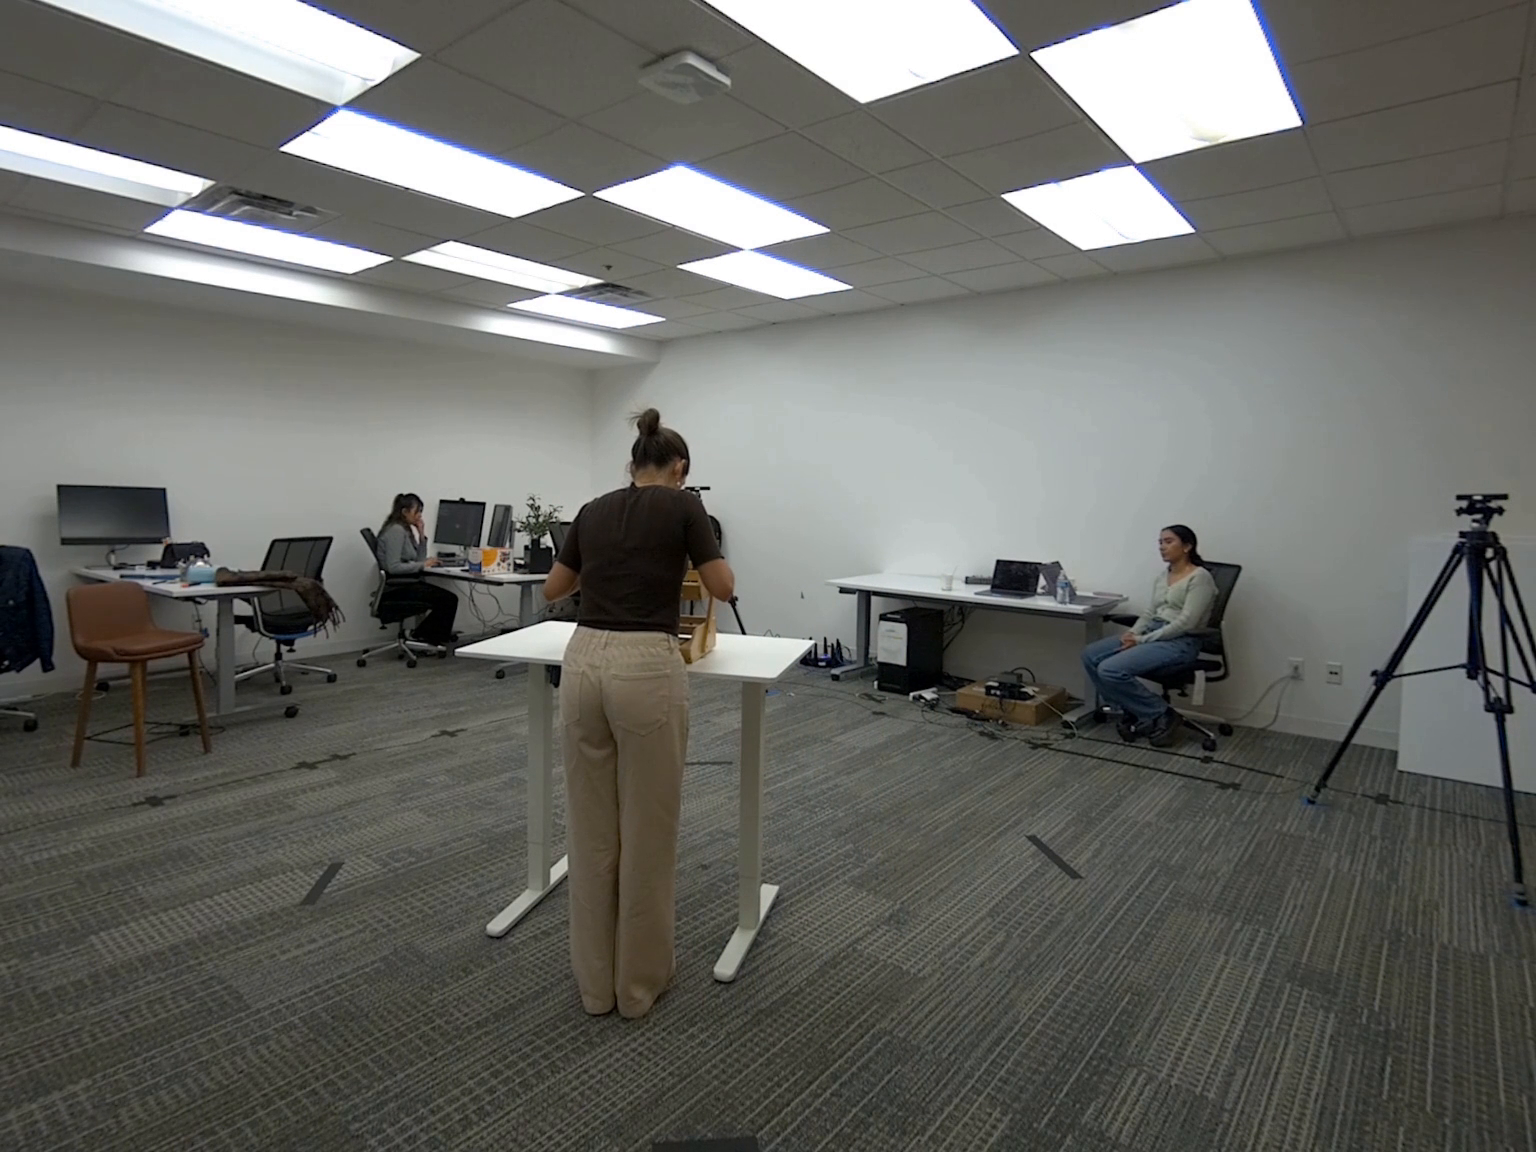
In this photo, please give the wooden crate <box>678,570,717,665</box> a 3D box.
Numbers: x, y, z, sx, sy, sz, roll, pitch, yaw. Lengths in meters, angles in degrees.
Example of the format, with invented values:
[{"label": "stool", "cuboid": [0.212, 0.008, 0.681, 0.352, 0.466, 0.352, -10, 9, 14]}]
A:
[{"label": "wooden crate", "cuboid": [-0.342, 0.101, 2.608, 0.330, 0.271, 0.299, 2, 8, 15]}]
